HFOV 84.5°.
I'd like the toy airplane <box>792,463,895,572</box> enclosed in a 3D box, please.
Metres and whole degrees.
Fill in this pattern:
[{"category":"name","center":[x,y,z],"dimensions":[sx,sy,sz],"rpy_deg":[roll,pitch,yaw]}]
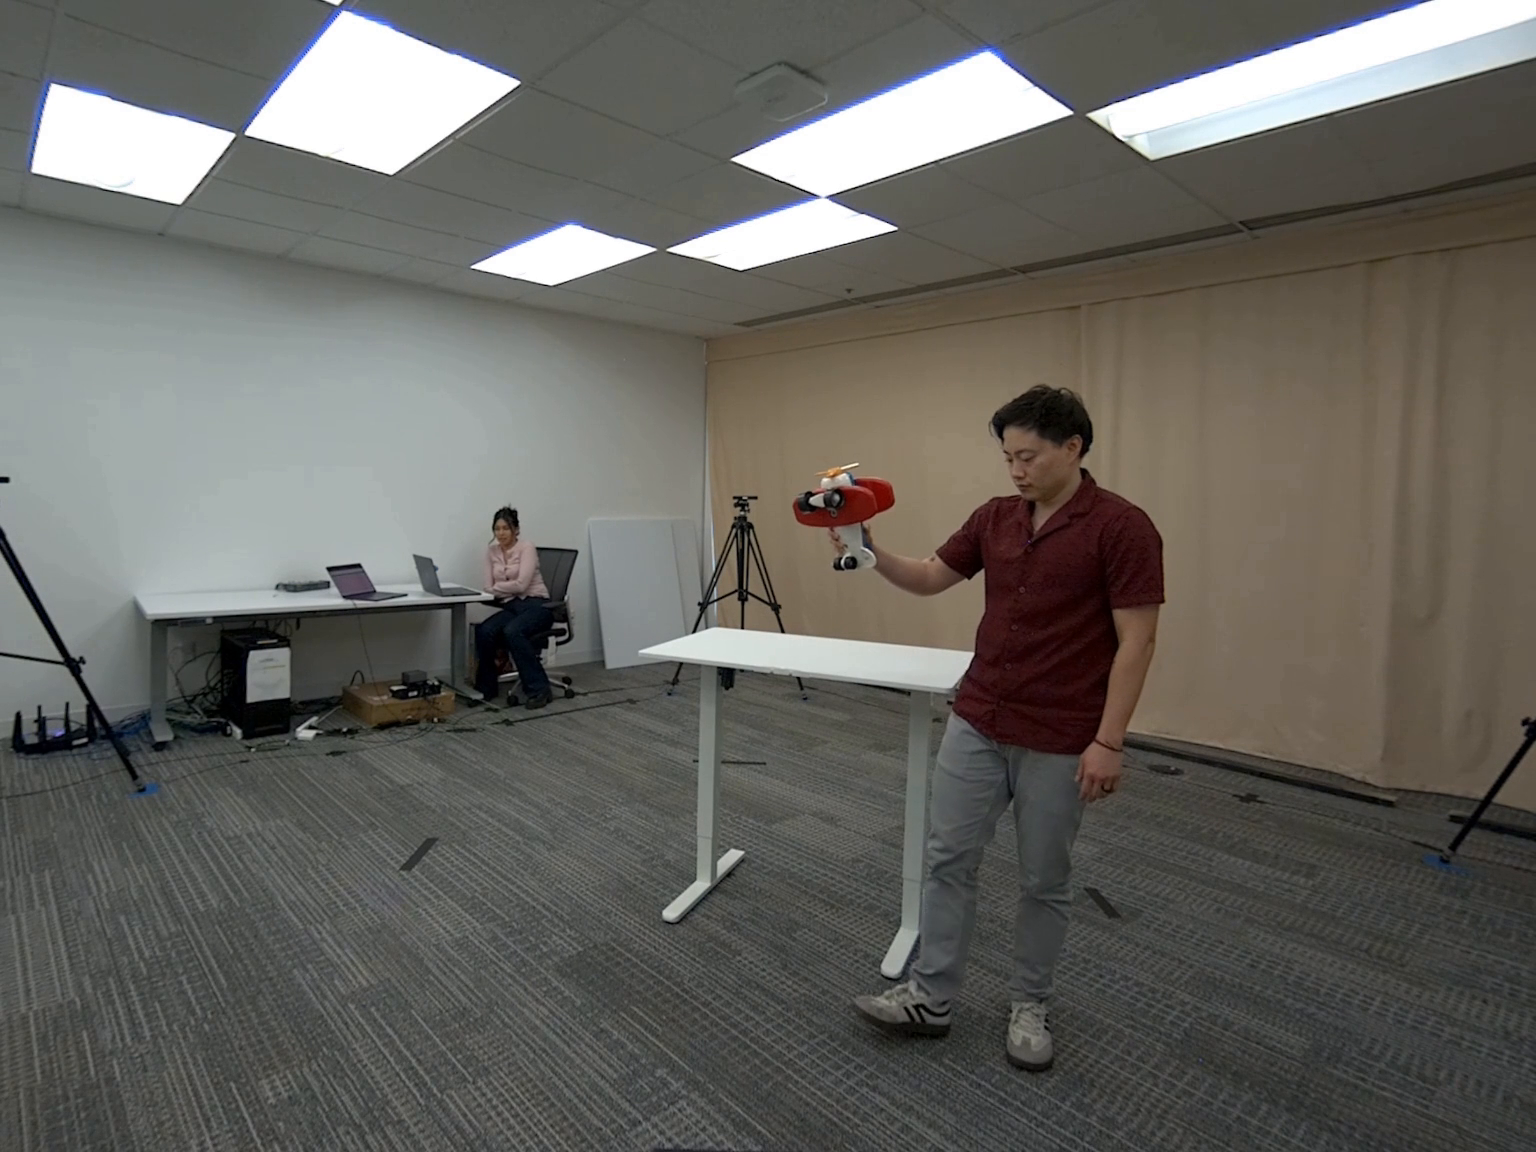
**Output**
[{"category":"toy airplane","center":[0.174,-0.136,2.116],"dimensions":[0.257,0.253,0.156],"rpy_deg":[23,45,27]}]
